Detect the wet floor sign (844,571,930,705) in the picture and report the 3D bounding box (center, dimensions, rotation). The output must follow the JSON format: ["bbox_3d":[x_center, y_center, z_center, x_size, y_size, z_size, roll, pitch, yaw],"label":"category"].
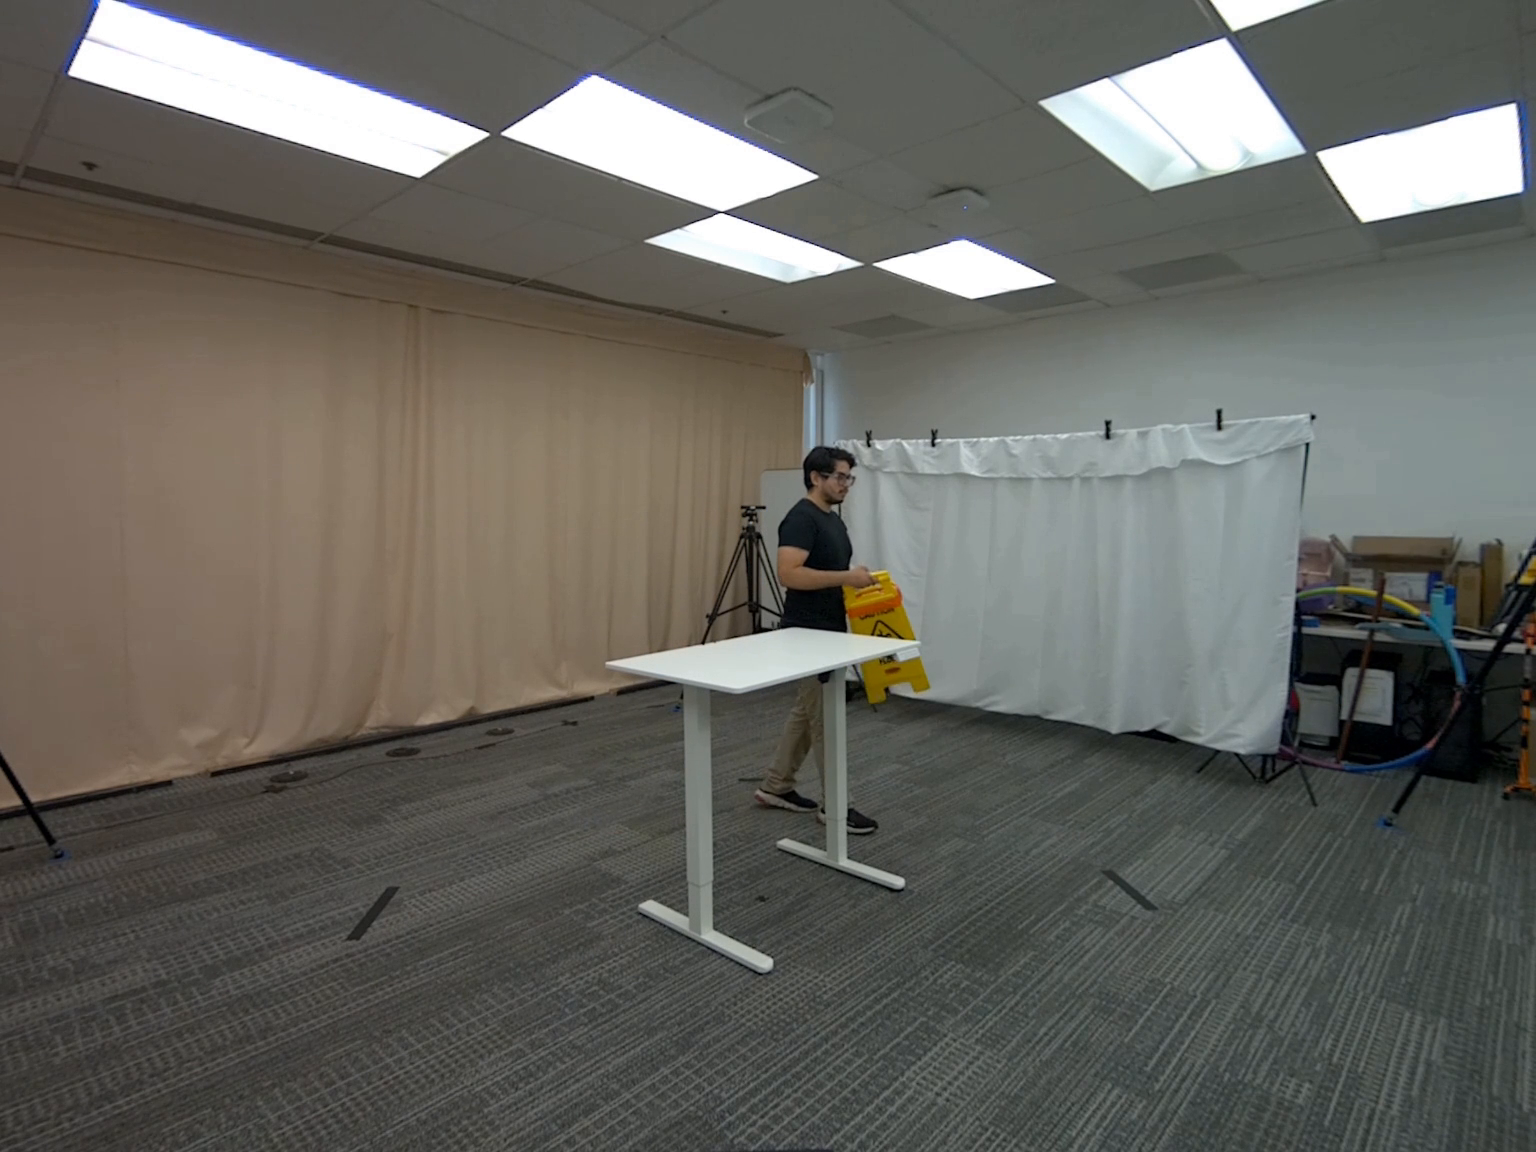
[{"bbox_3d":[0.493,0.229,3.694,0.284,0.627,0.296,-16,42,8],"label":"wet floor sign"}]
